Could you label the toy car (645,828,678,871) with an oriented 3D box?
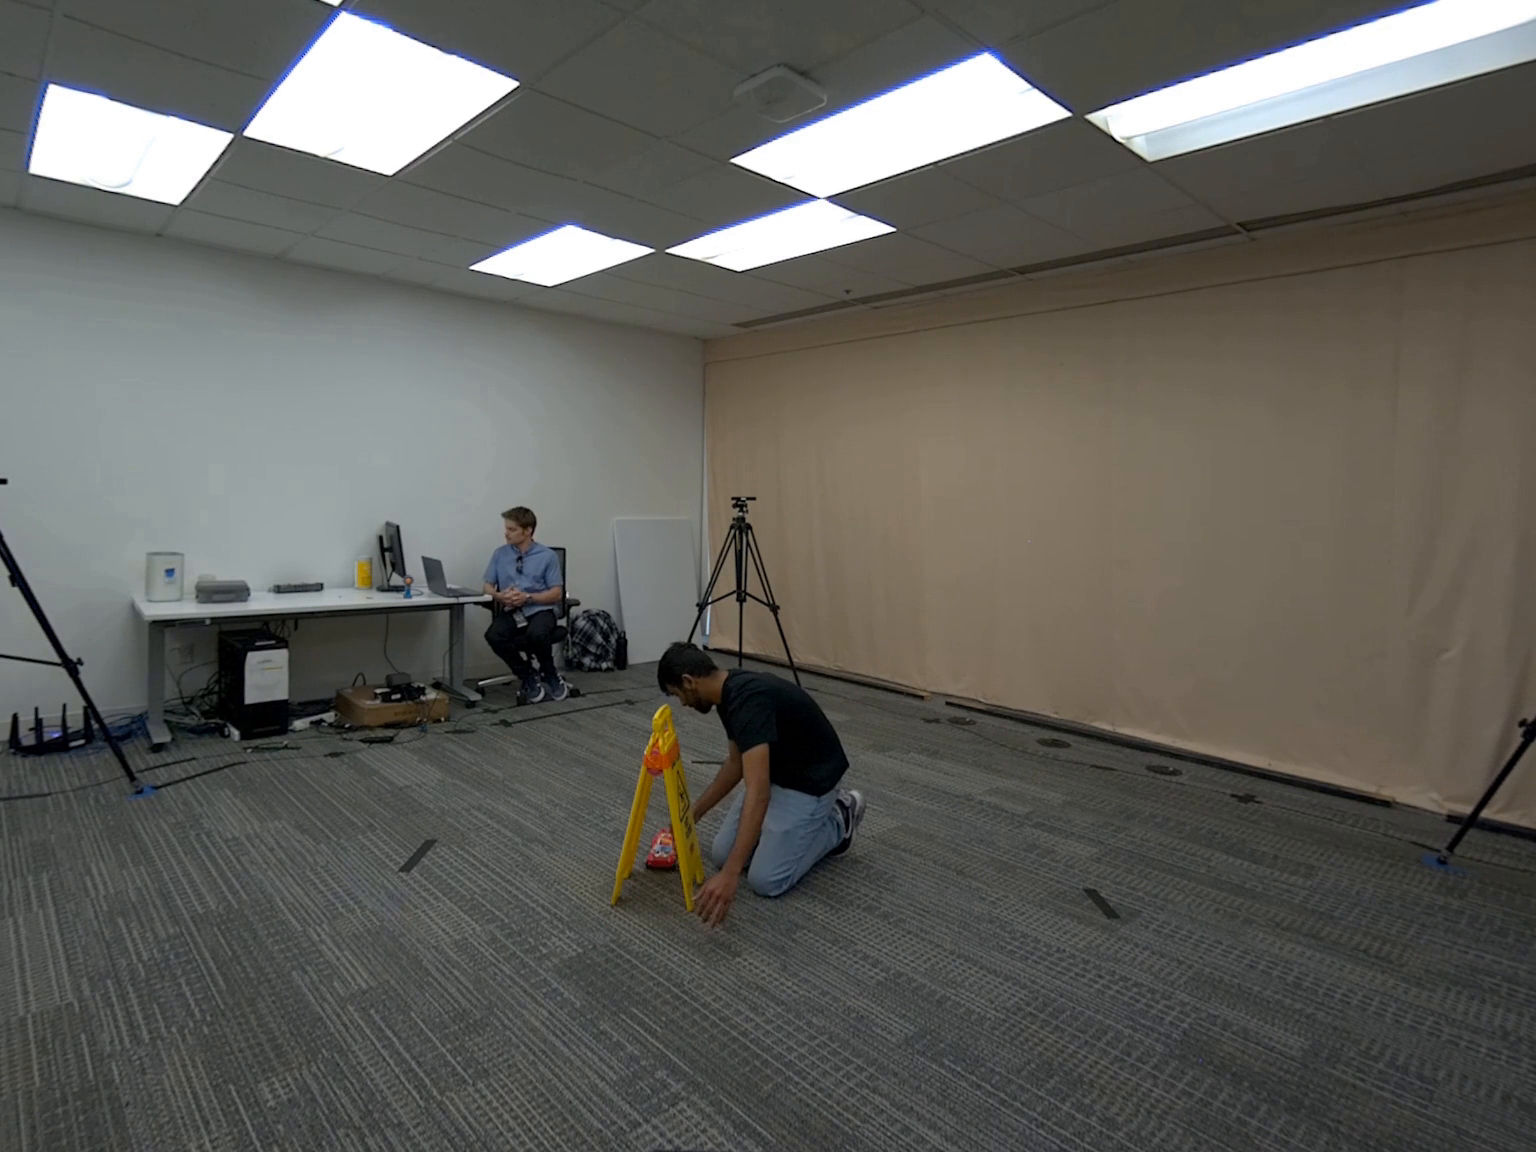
[{"bbox_3d":[-0.399,1.052,3.246,0.130,0.082,0.257,-1,15,1],"label":"toy car"}]
